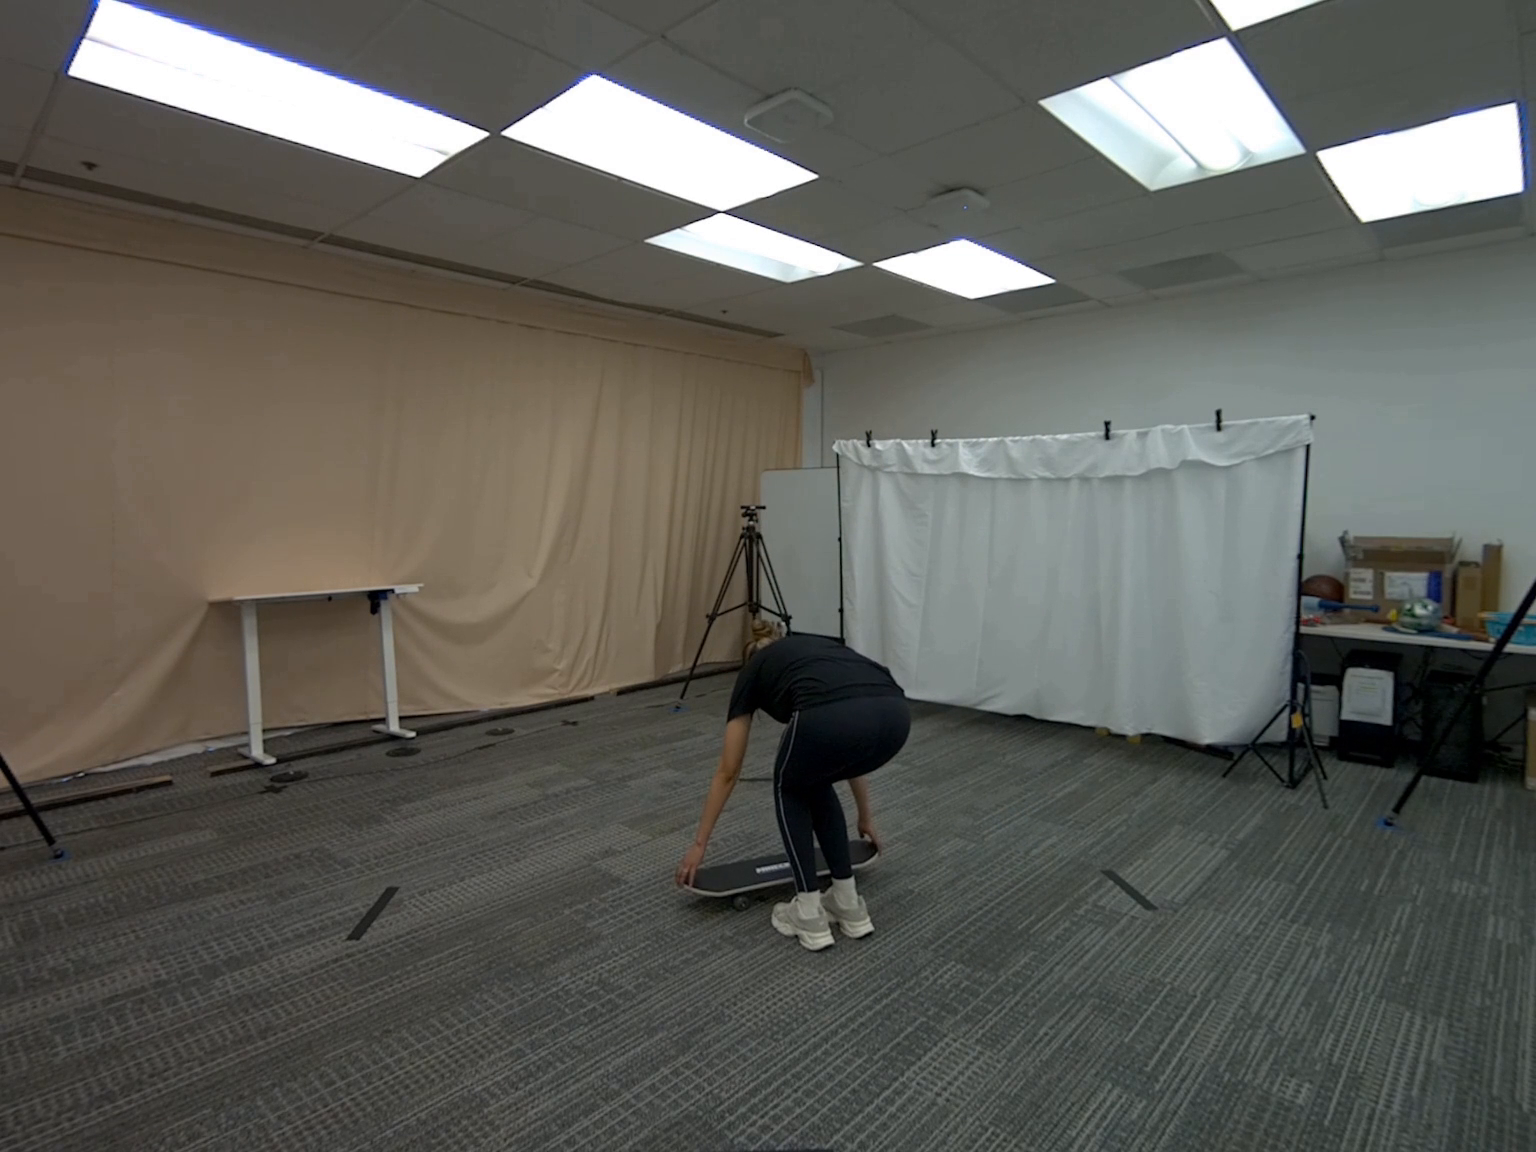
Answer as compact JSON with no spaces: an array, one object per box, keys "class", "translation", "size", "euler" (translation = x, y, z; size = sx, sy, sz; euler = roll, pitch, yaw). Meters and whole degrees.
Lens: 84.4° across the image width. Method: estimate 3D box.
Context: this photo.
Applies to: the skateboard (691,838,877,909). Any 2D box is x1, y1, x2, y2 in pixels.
[{"class":"skateboard","translation":[0.054,1.080,3.038],"size":[0.768,0.110,0.198],"euler":[-2,5,-22]}]
